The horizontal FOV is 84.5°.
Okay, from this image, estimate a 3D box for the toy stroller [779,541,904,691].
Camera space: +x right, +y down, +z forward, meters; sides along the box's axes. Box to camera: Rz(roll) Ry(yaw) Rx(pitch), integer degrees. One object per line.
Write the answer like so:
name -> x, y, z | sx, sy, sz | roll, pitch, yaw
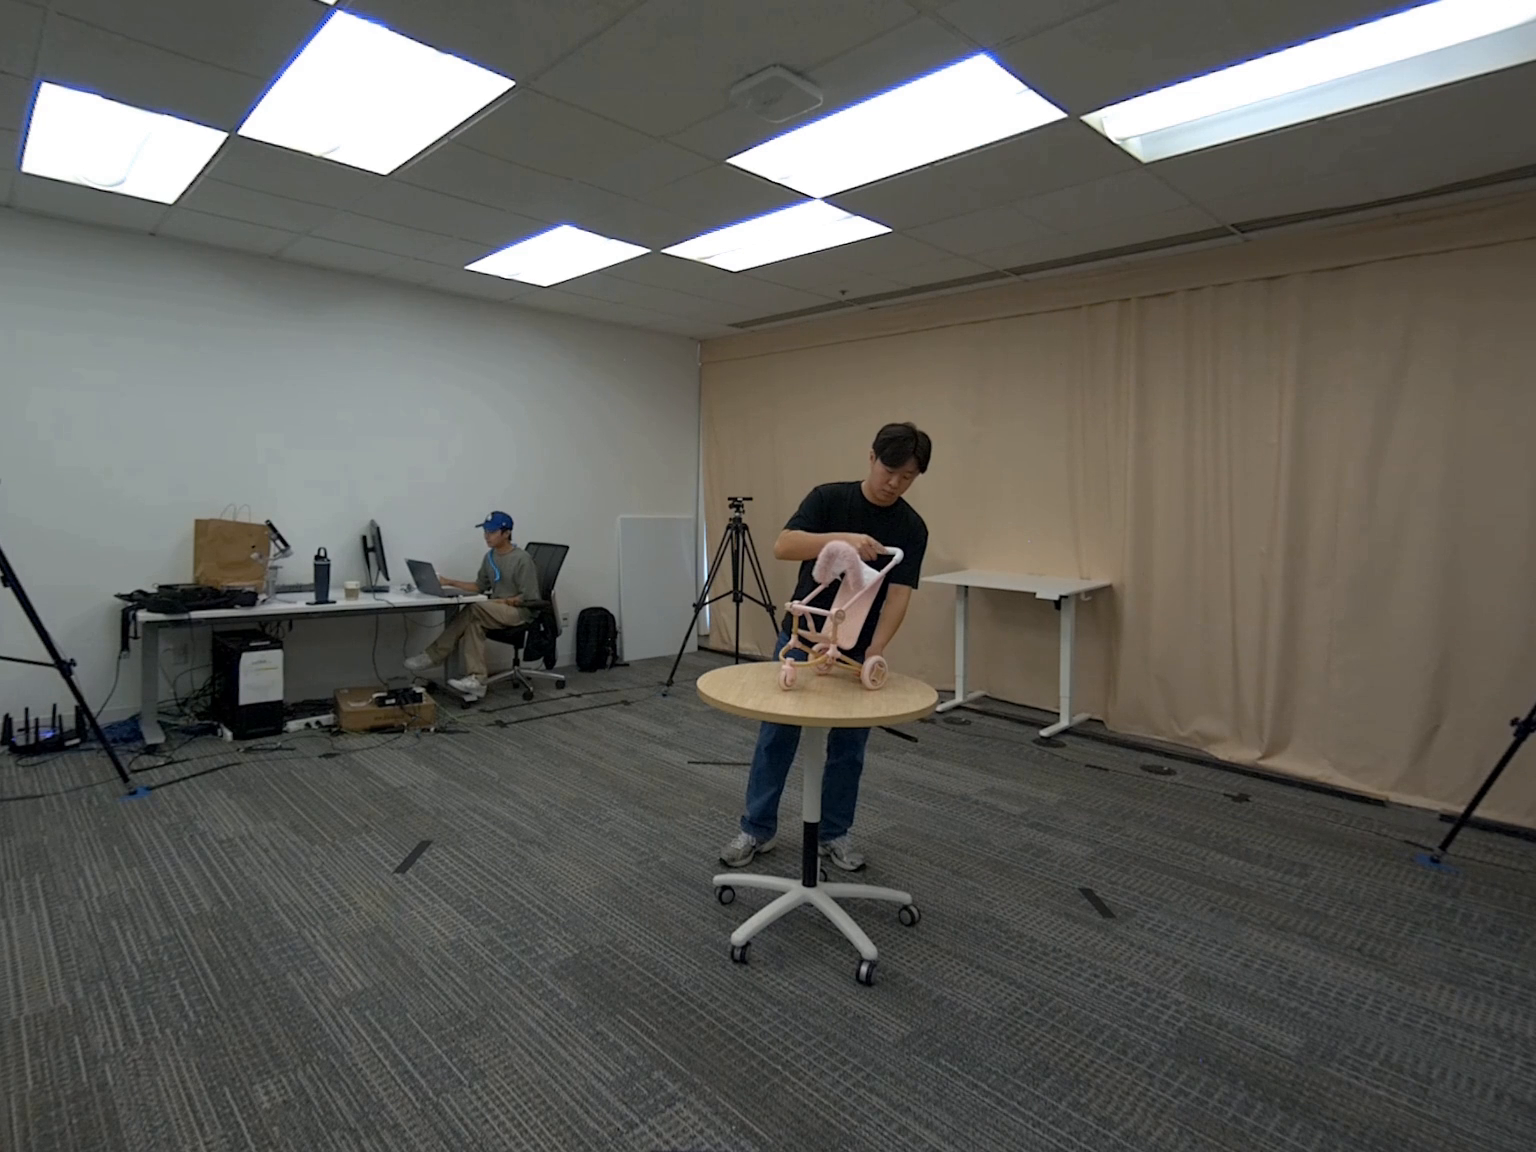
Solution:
toy stroller -> 0.202, 0.128, 2.721 | 0.332, 0.536, 0.288 | 15, -5, -33
